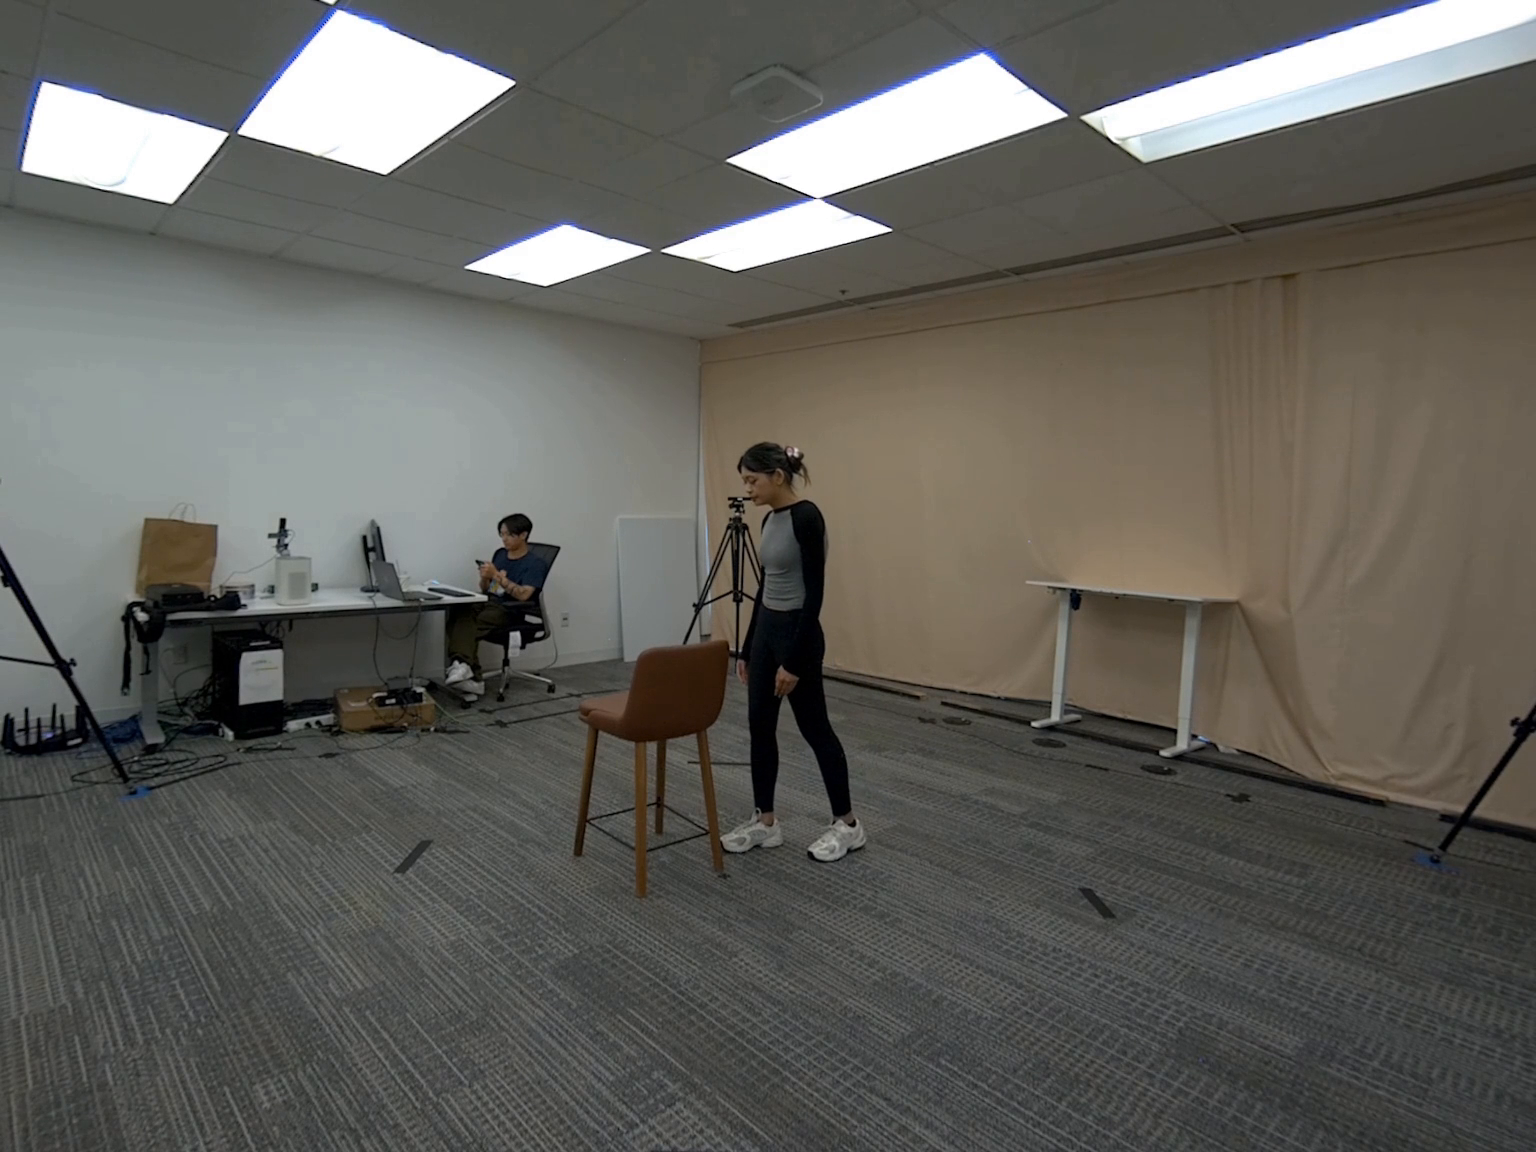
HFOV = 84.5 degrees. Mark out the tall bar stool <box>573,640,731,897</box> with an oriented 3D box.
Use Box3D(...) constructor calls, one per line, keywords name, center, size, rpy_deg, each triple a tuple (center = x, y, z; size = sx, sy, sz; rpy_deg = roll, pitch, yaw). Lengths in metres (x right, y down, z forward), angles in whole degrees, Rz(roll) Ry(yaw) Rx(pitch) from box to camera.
Box3D(name="tall bar stool", center=(-0.449, 0.660, 3.173), size=(0.446, 0.887, 0.480), rpy_deg=(-2, 6, -42))
